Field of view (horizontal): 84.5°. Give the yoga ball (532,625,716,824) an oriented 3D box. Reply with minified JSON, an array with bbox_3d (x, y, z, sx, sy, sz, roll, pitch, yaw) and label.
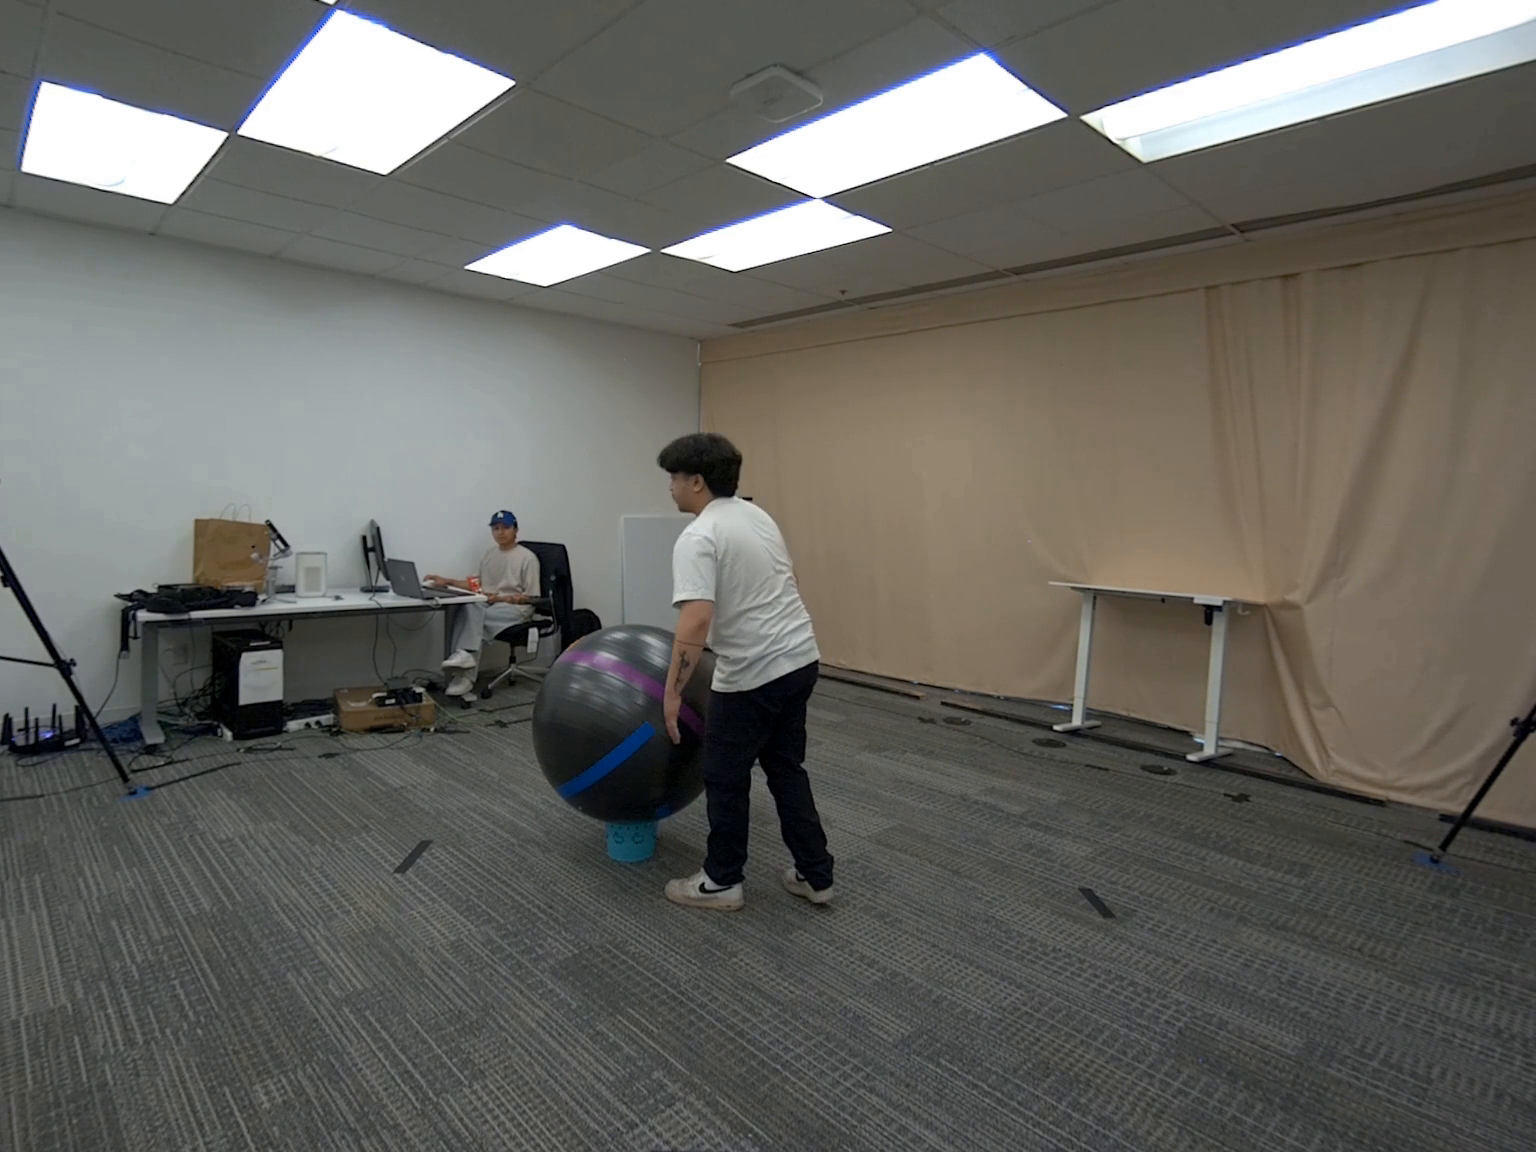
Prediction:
[{"bbox_3d":[-0.535,0.571,3.286,0.757,0.756,0.760,1,4,-1],"label":"yoga ball"}]
